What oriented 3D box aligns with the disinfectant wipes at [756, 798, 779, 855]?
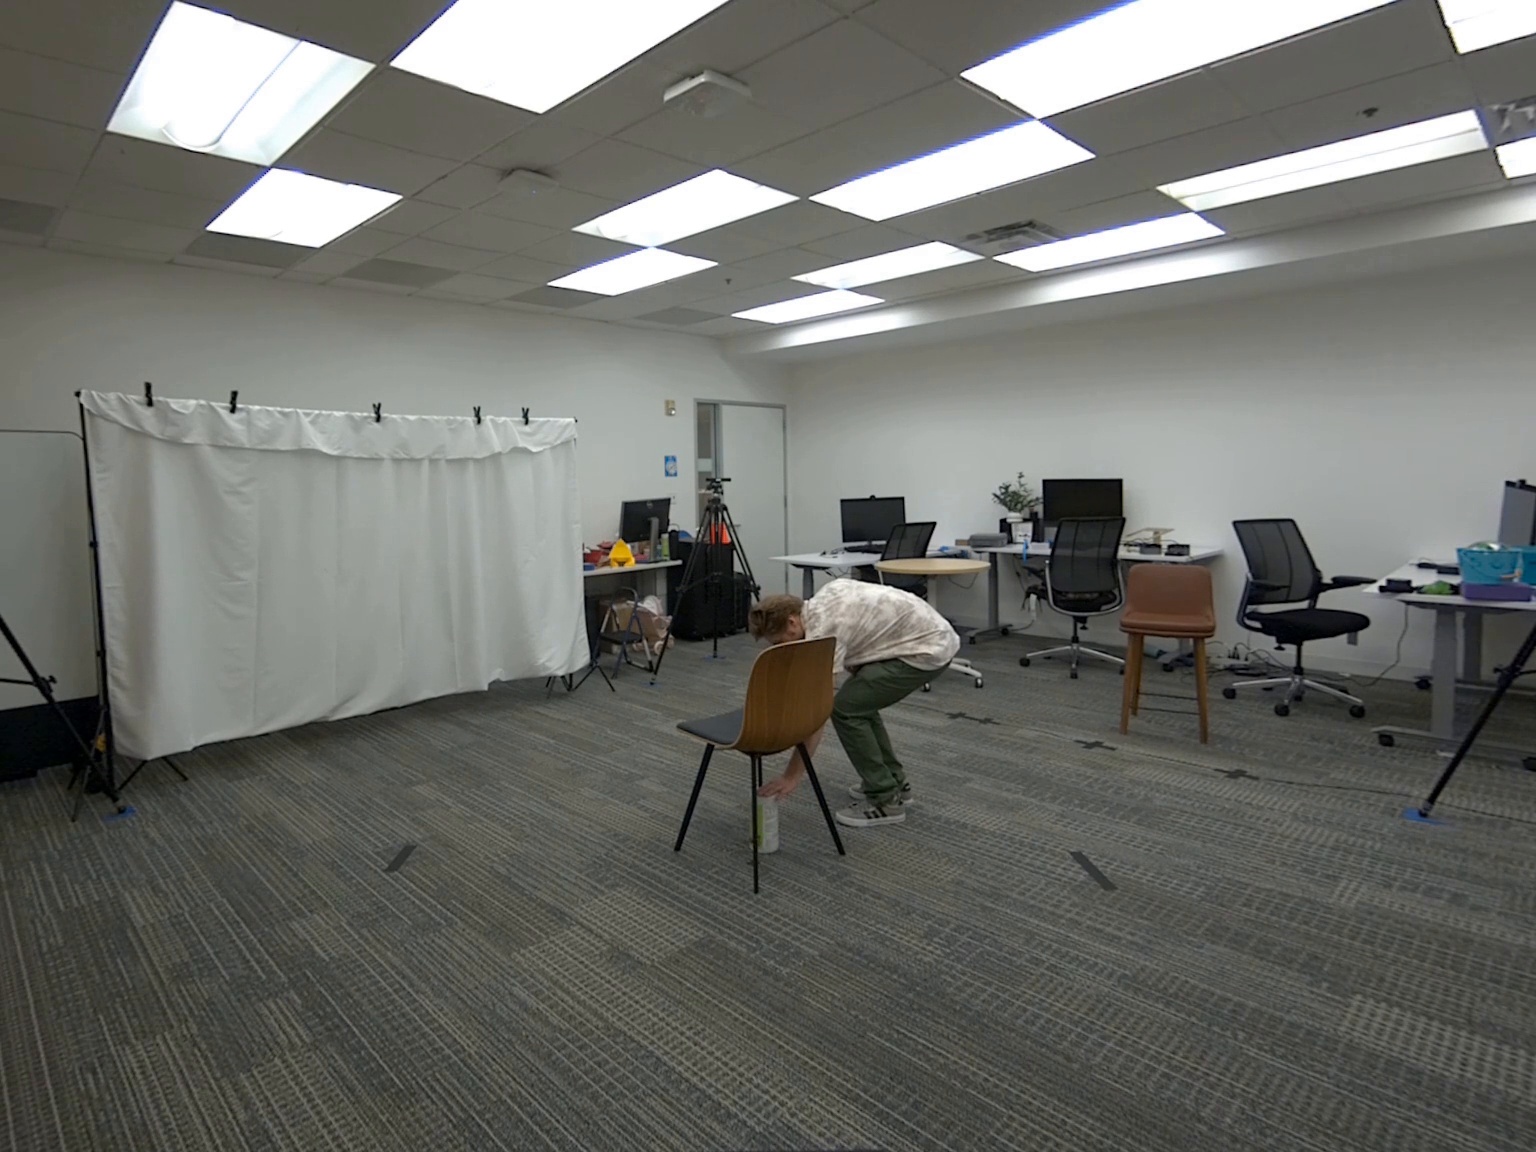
[{"bbox_3d":[-0.003,0.930,3.233,0.118,0.217,0.118,-1,4,-2],"label":"disinfectant wipes"}]
